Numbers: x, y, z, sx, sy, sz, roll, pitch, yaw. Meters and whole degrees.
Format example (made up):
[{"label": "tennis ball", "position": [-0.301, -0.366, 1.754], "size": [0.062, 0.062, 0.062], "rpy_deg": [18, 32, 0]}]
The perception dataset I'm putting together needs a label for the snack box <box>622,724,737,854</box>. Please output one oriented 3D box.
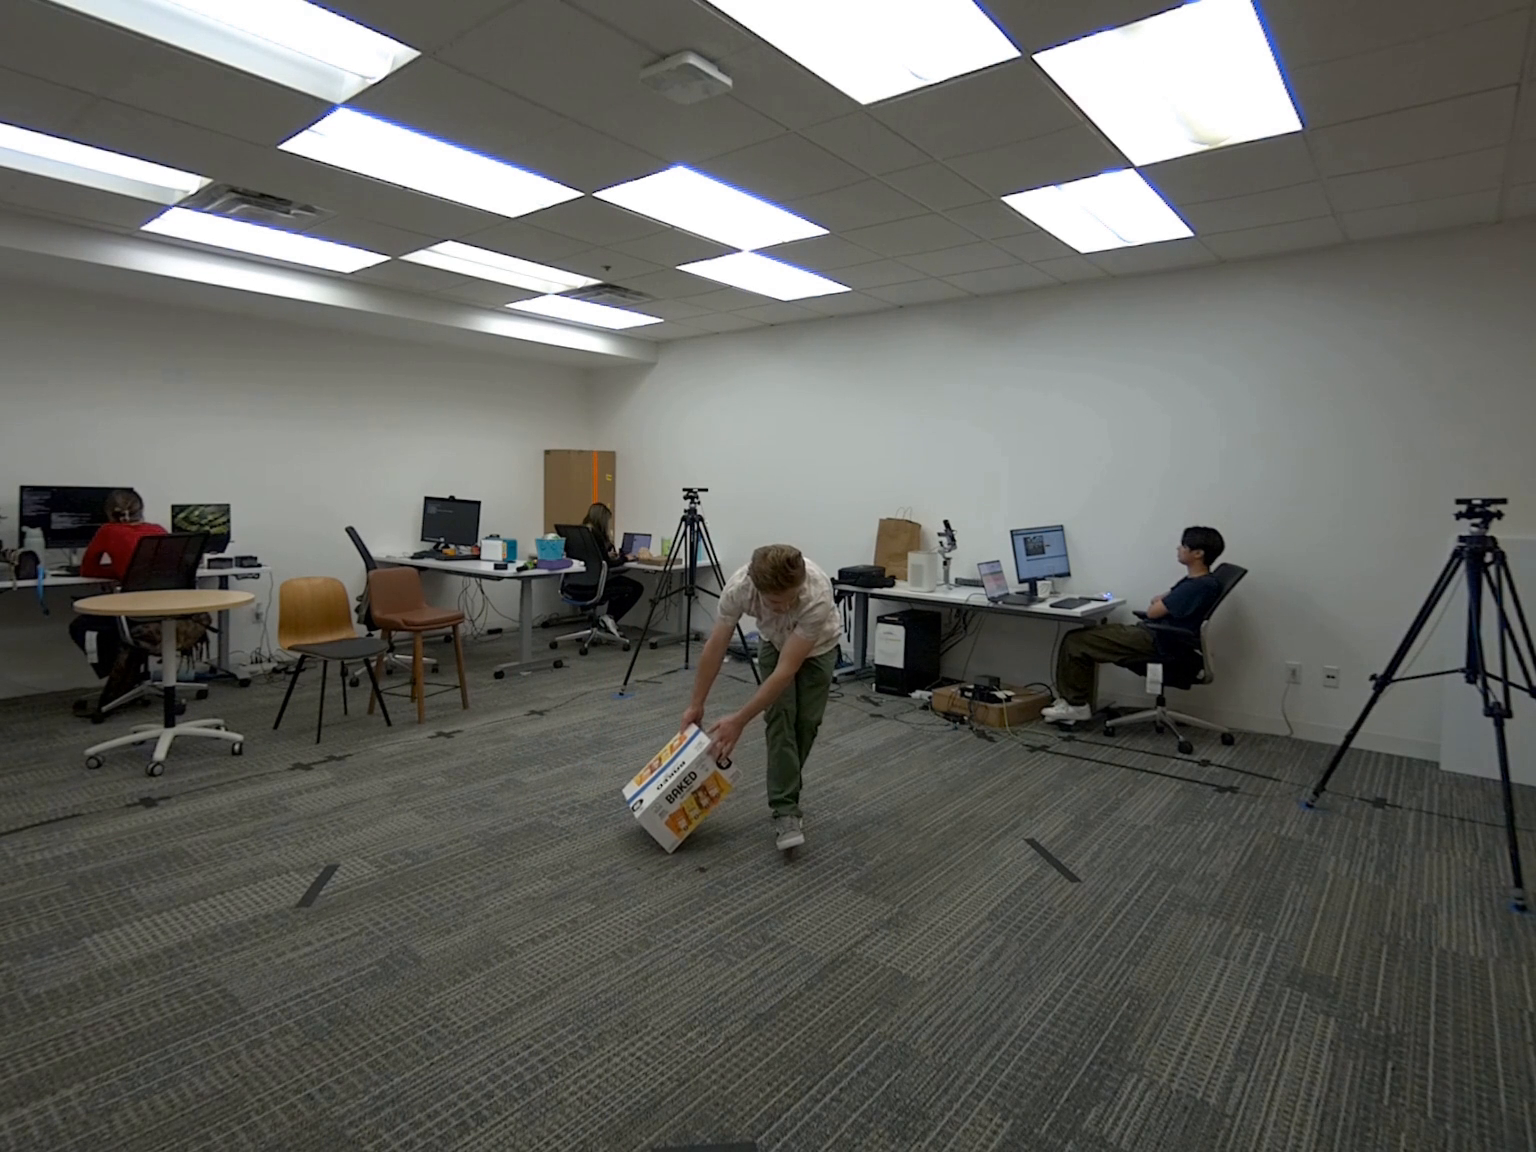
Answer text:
[{"label": "snack box", "position": [-0.354, 0.827, 3.399], "size": [0.405, 0.202, 0.347], "rpy_deg": [-45, 14, -11]}]
